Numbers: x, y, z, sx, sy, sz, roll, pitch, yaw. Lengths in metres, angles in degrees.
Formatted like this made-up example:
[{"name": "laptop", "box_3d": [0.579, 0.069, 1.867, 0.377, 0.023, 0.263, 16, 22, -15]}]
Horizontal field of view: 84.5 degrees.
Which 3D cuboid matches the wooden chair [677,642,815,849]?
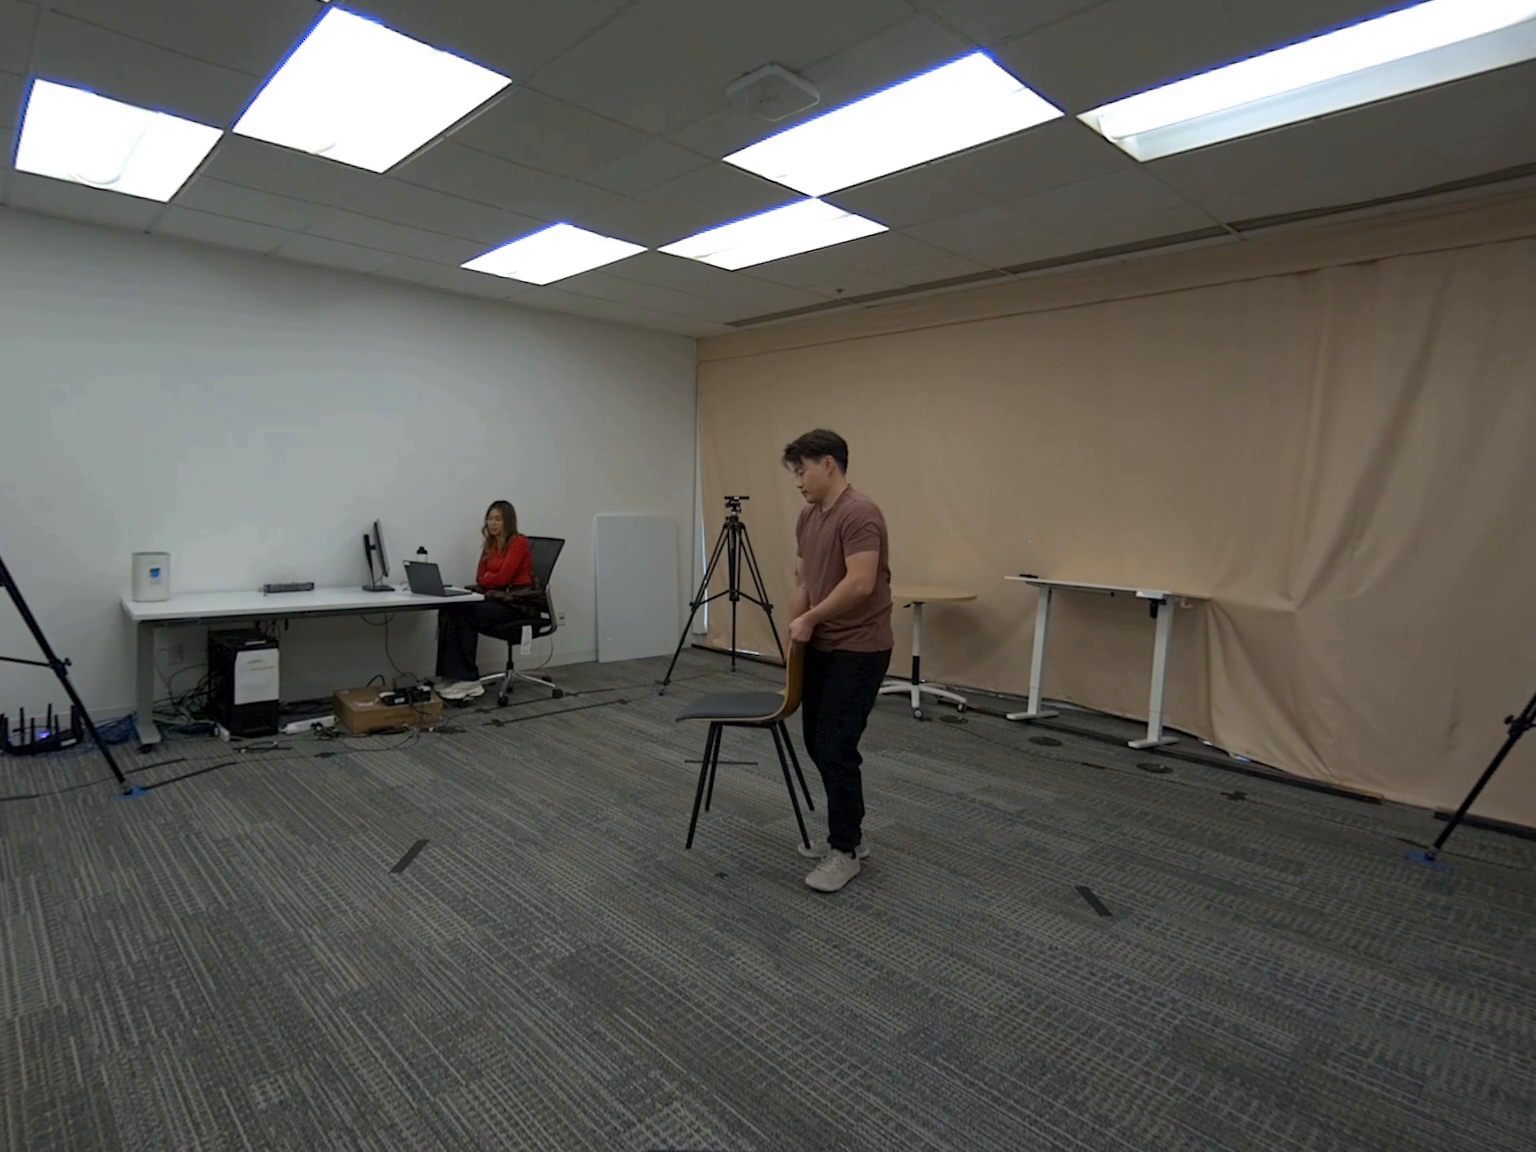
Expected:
[{"name": "wooden chair", "box_3d": [-0.092, 0.552, 3.243, 0.526, 0.876, 0.476, 2, 2, 6]}]
